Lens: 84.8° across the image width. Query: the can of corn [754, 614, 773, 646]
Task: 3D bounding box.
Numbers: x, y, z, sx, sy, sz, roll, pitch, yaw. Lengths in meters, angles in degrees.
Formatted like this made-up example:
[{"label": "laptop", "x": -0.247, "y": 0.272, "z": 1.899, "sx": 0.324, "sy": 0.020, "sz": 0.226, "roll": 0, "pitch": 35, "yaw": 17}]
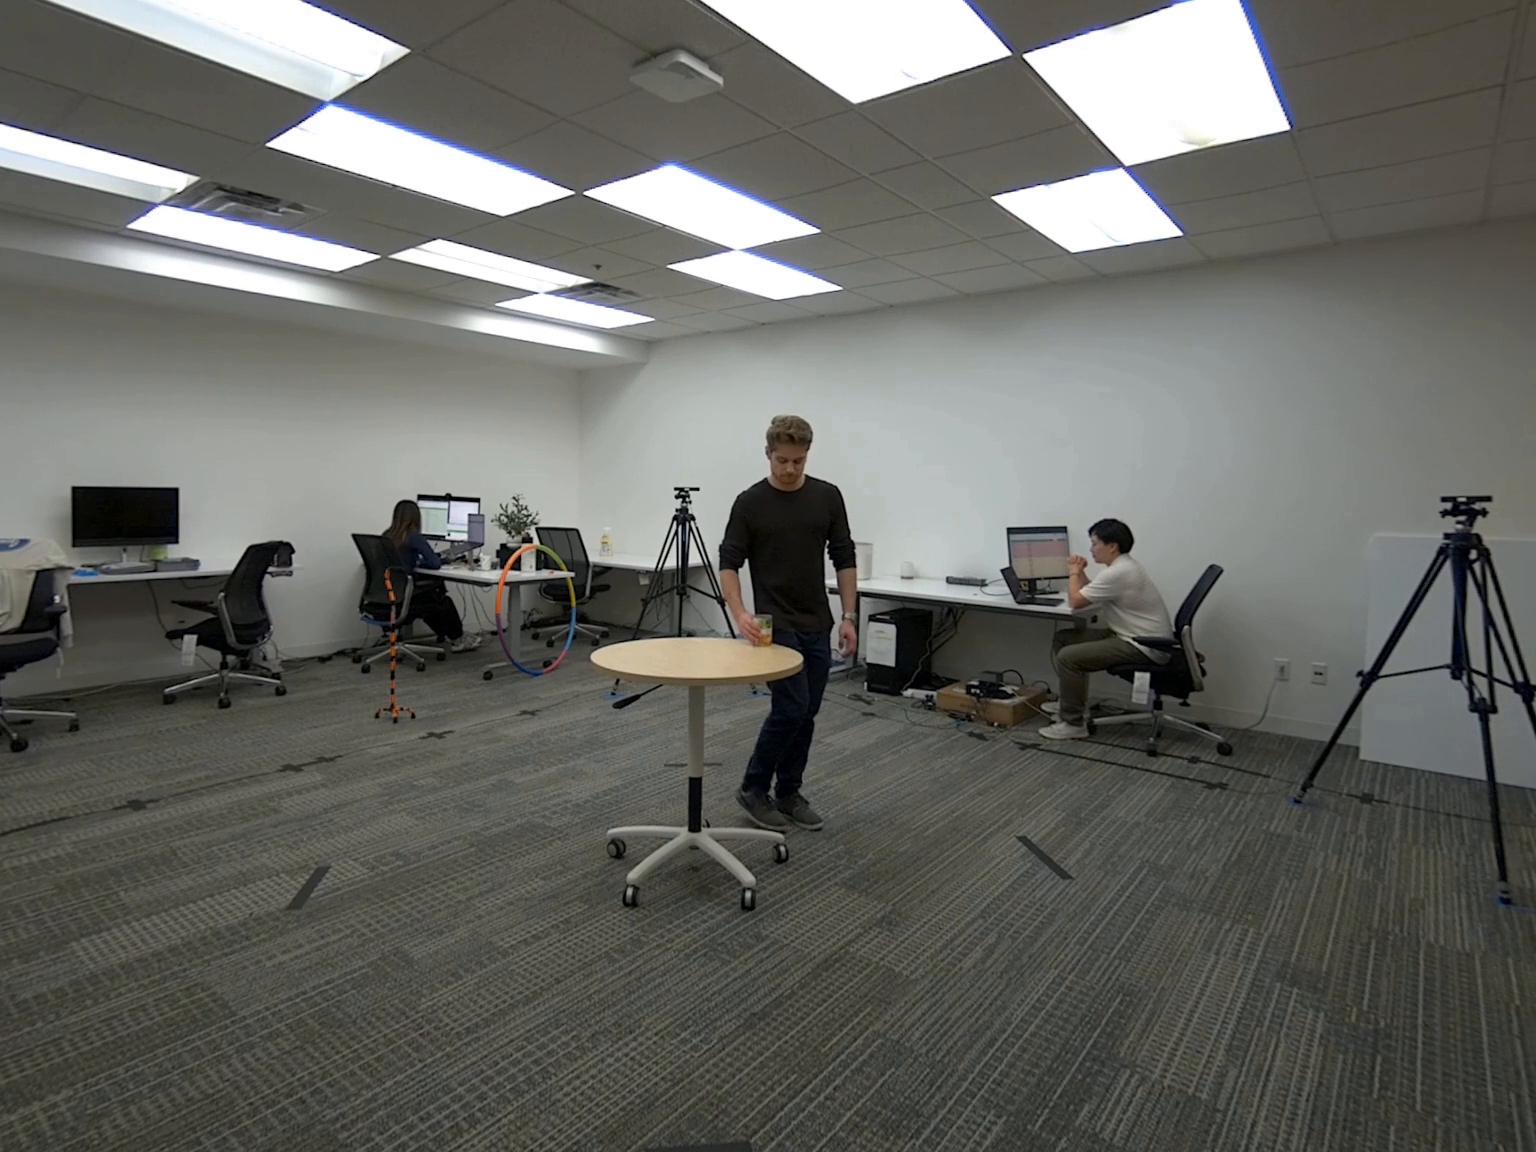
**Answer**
[{"label": "can of corn", "x": -0.034, "y": 0.213, "z": 3.305, "sx": 0.074, "sy": 0.111, "sz": 0.074, "roll": 0, "pitch": -2, "yaw": -2}]
